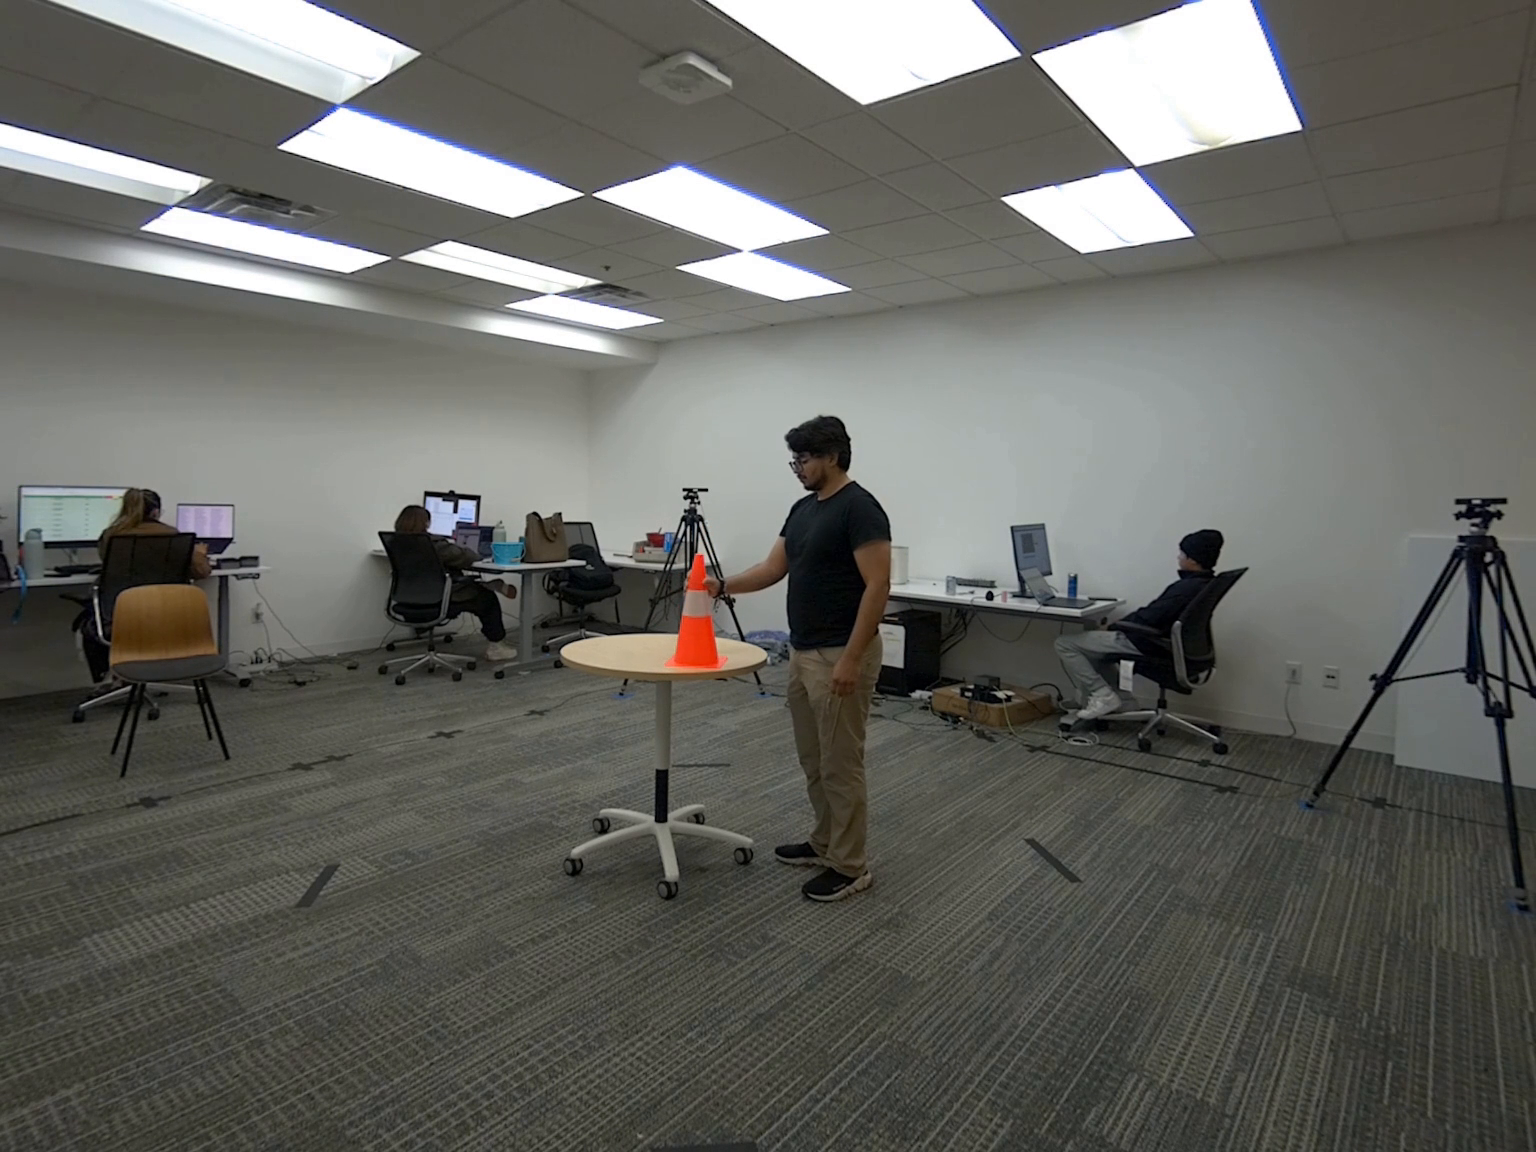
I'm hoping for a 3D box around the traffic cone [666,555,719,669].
[{"bbox_3d":[-0.252,0.109,2.975,0.206,0.382,0.203,2,4,5],"label":"traffic cone"}]
